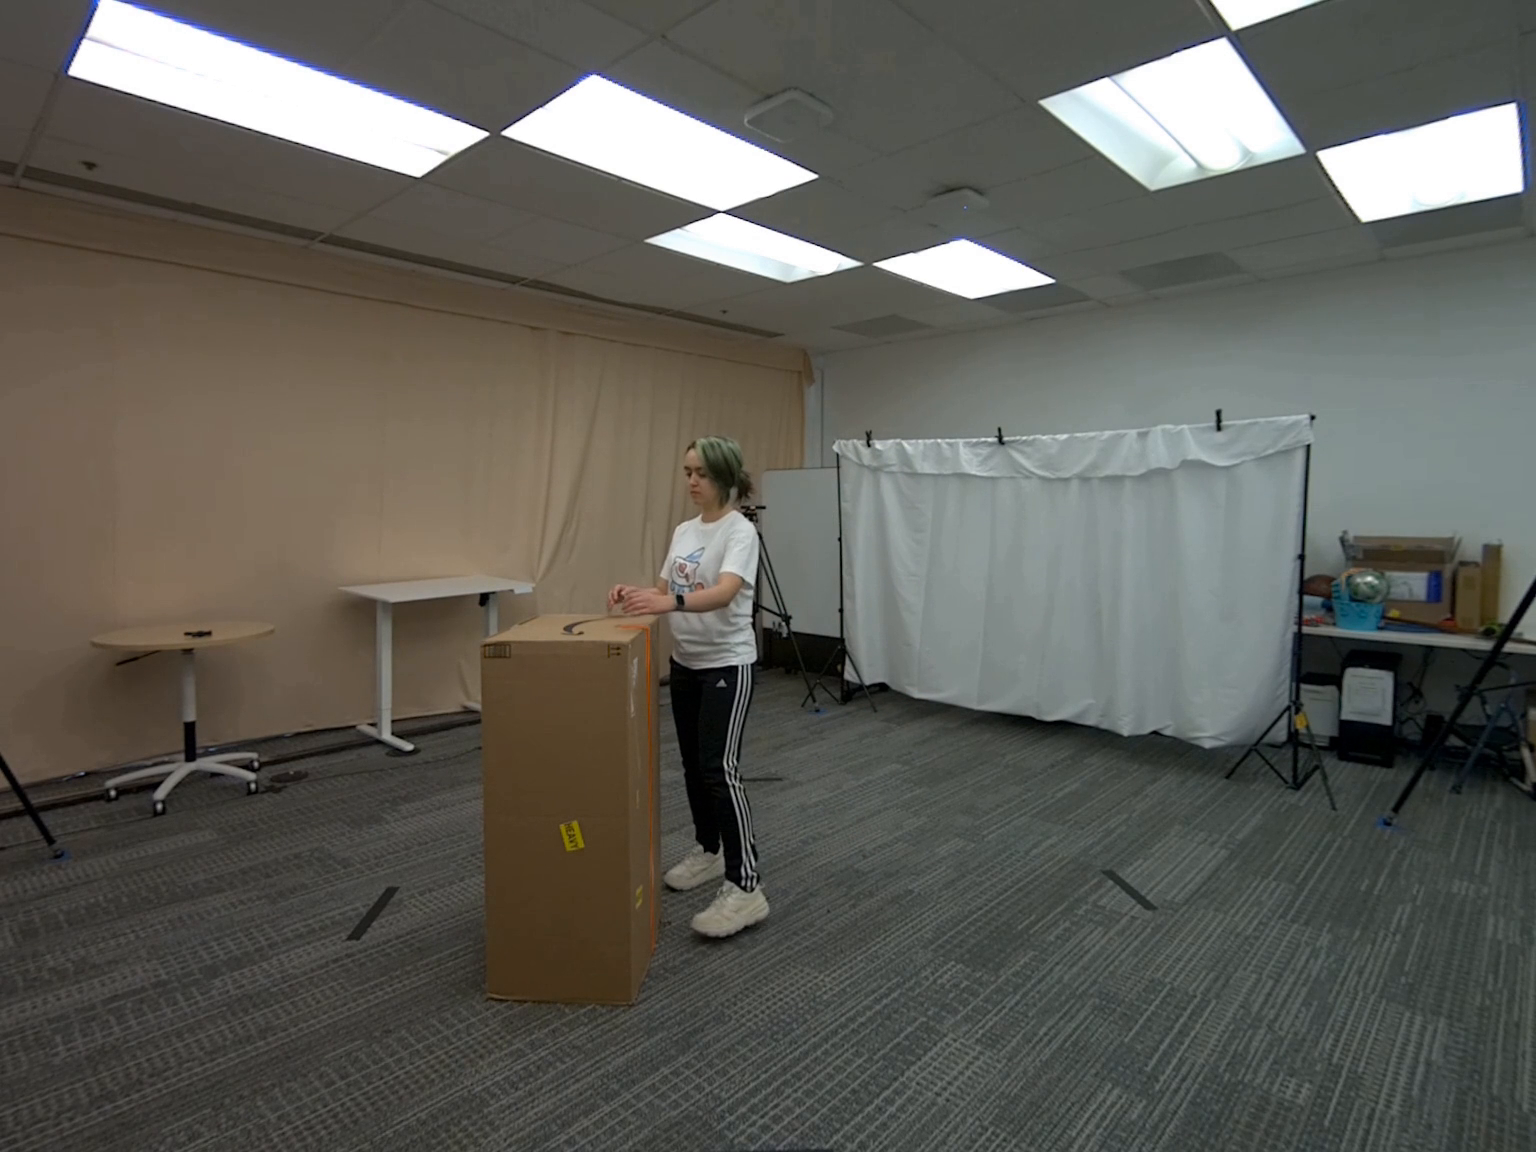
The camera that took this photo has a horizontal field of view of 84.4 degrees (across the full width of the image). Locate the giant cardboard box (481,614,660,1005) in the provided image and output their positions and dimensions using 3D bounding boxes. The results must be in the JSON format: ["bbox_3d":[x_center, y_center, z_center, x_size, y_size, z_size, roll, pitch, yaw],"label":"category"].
[{"bbox_3d":[-0.582,0.670,2.620,0.449,1.026,0.582,-1,2,3],"label":"giant cardboard box"}]
